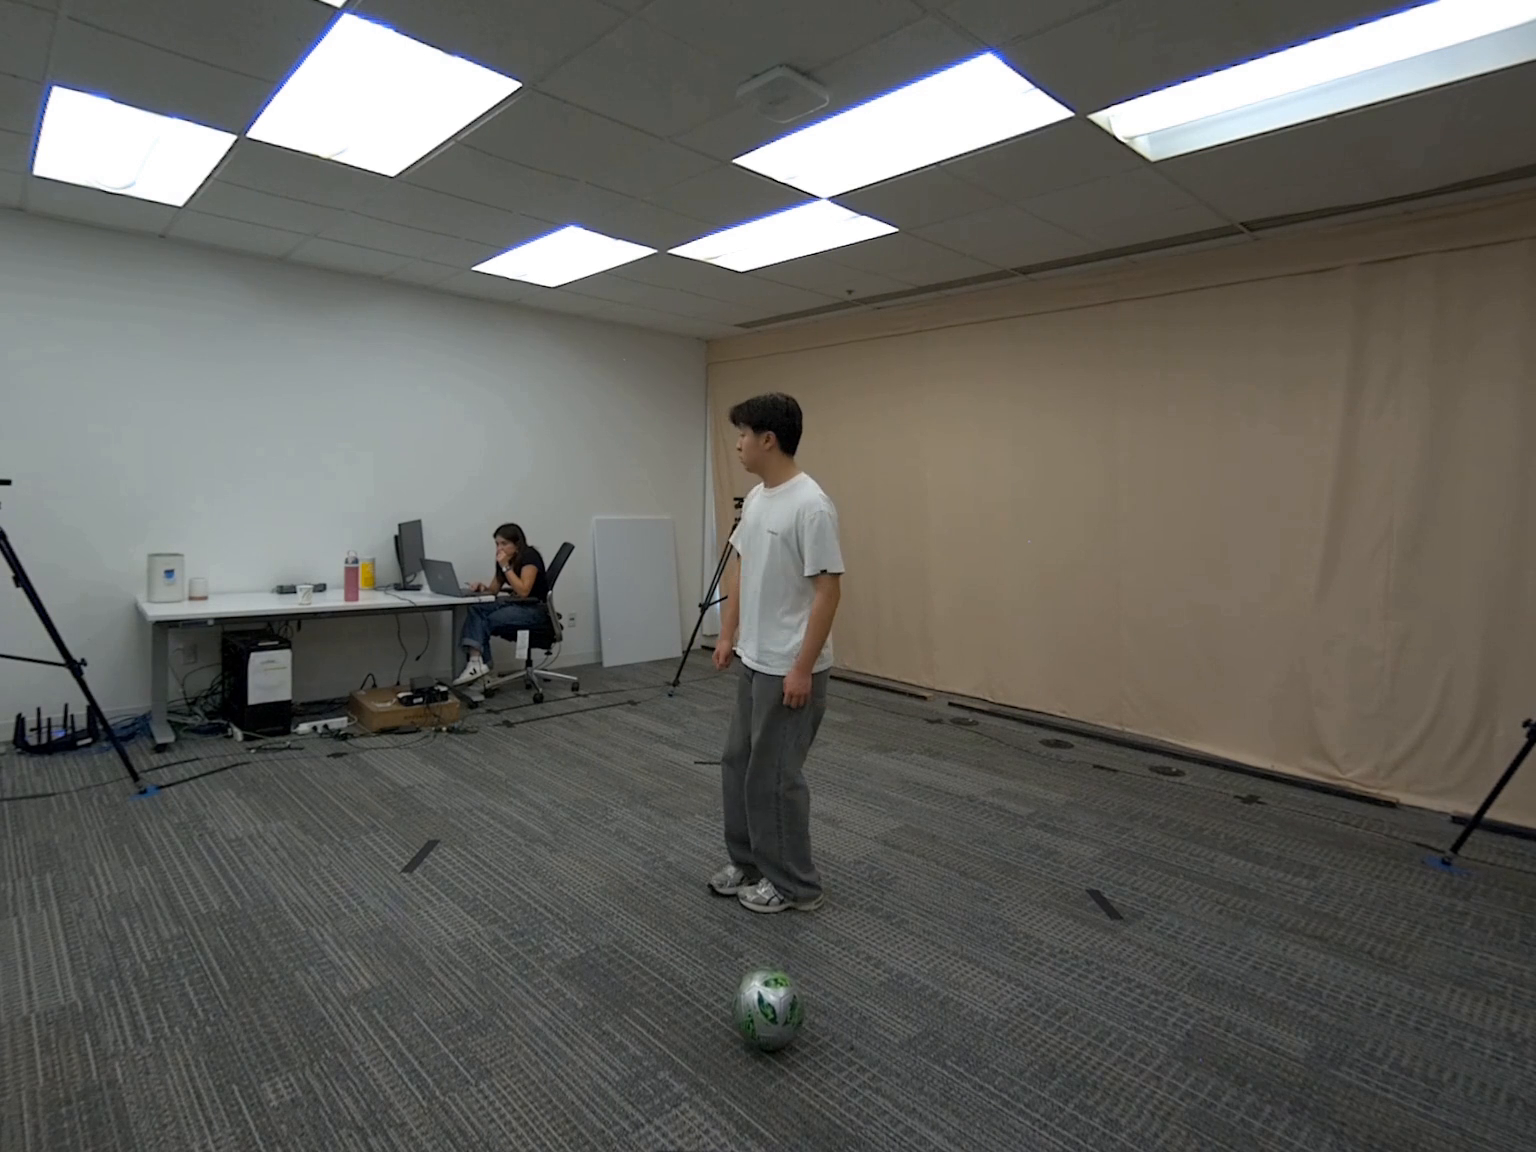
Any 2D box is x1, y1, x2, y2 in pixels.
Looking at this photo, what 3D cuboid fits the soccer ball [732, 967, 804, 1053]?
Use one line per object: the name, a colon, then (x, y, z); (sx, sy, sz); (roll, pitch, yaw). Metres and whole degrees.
soccer ball: (-0.015, 1.113, 2.144); (0.187, 0.187, 0.188); (1, 4, -1)
